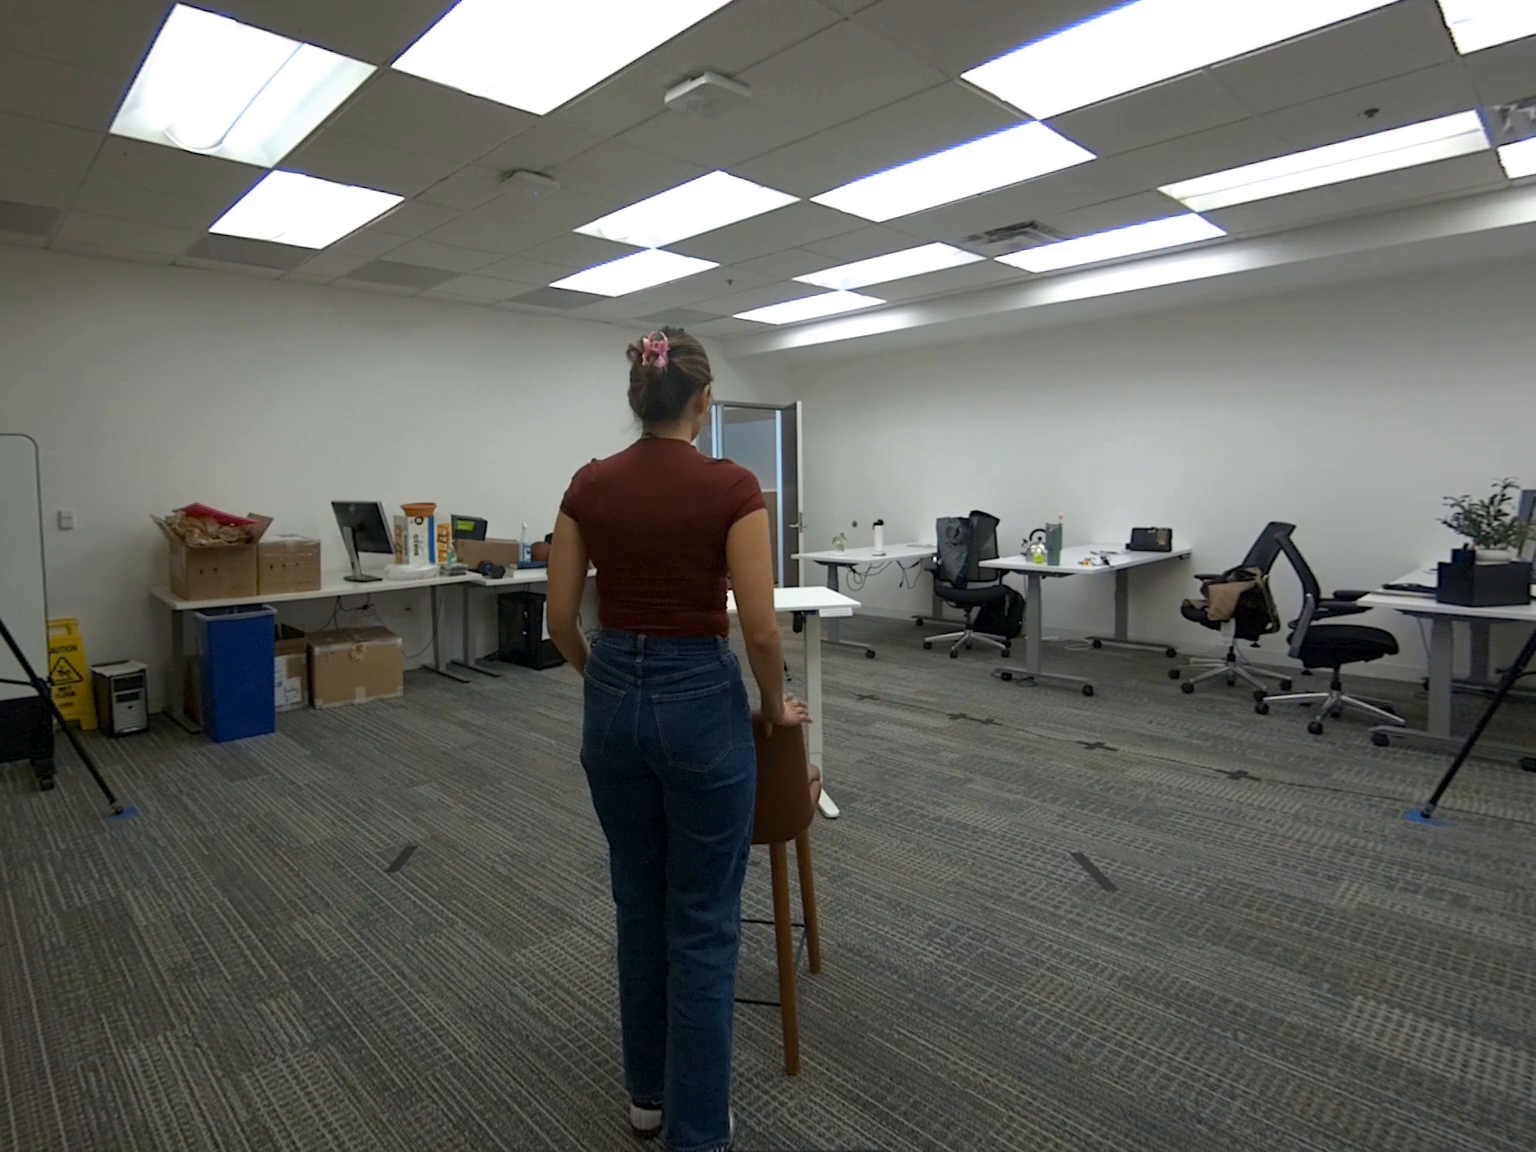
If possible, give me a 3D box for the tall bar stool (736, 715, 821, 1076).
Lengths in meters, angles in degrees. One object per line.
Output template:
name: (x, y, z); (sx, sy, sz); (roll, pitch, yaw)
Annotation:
tall bar stool: (-0.085, 0.719, 2.221); (0.461, 0.885, 0.465); (0, 6, 10)
